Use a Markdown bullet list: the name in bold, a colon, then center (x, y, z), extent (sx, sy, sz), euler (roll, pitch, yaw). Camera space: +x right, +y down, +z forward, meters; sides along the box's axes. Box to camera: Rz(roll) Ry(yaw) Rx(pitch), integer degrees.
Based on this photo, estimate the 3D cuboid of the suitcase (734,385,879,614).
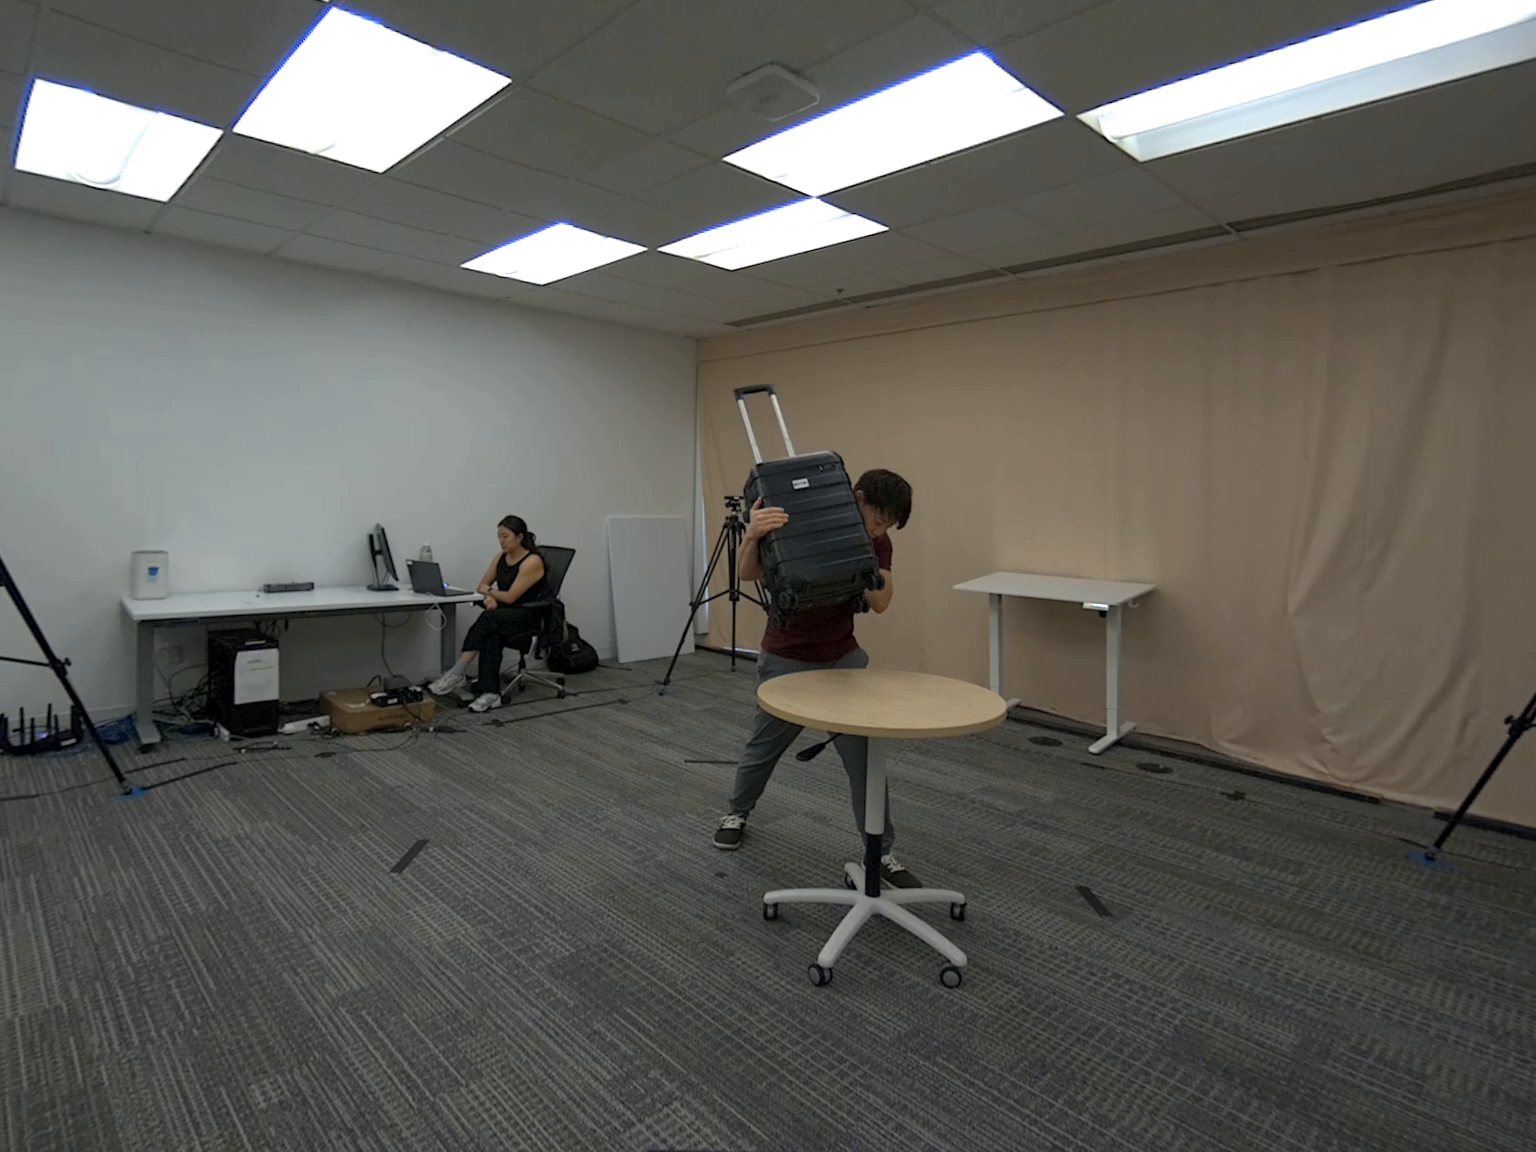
- **suitcase**: center (0.085, -0.333, 2.967), extent (0.381, 0.998, 0.254), euler (-10, -23, -10)
